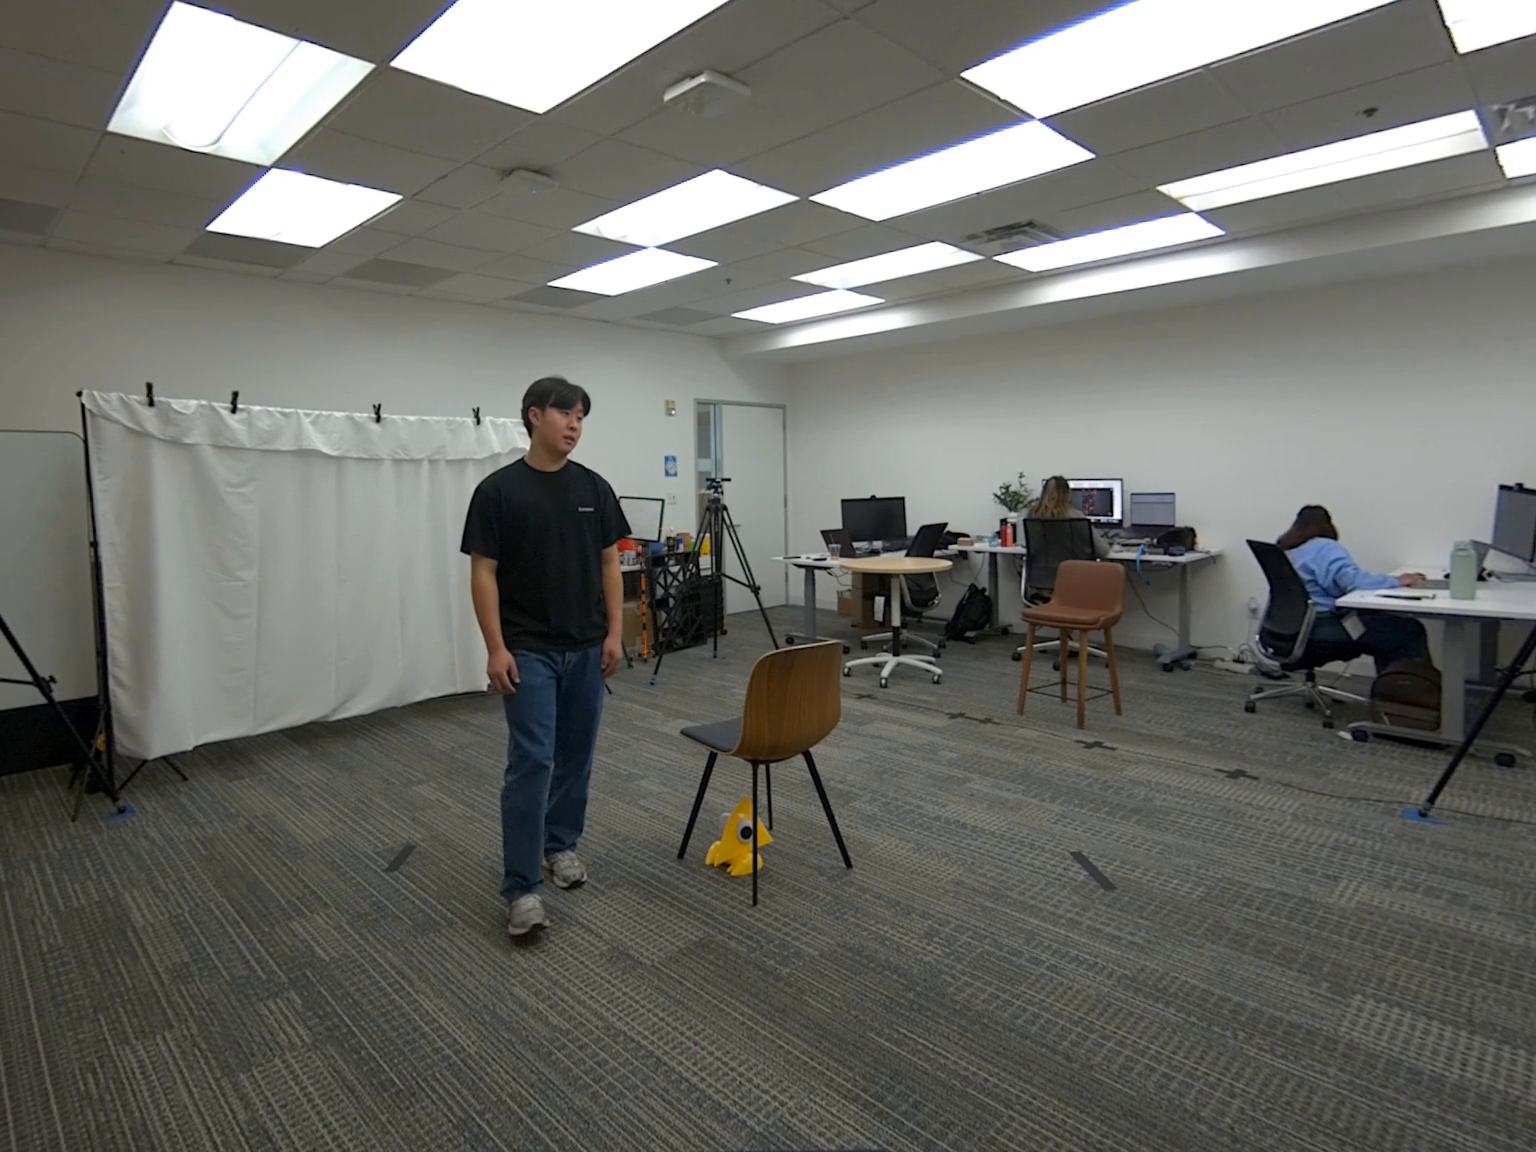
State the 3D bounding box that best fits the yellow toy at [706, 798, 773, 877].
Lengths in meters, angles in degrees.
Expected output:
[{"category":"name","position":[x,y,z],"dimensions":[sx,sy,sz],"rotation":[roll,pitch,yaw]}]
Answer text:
[{"category":"yellow toy","position":[-0.114,0.928,3.105],"dimensions":[0.211,0.229,0.188],"rotation":[5,8,44]}]
